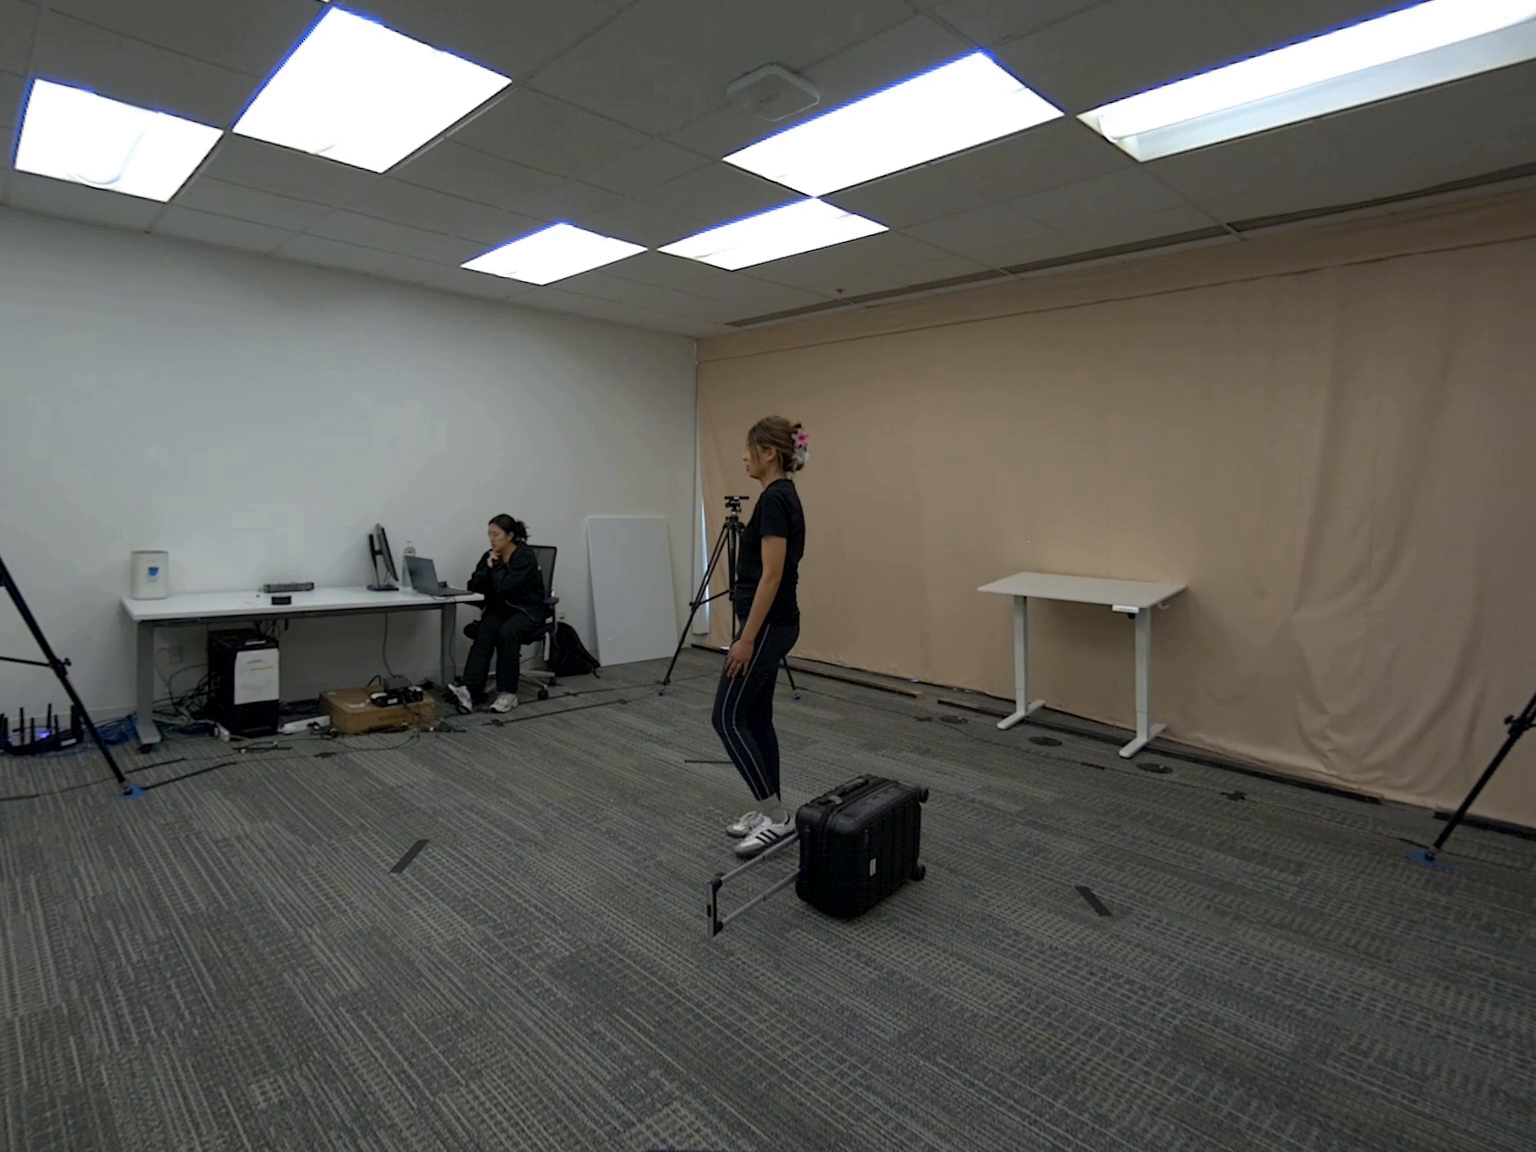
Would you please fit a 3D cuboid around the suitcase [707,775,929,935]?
[{"bbox_3d":[0.205,0.951,2.809,0.263,0.383,0.958,4,5,36],"label":"suitcase"}]
